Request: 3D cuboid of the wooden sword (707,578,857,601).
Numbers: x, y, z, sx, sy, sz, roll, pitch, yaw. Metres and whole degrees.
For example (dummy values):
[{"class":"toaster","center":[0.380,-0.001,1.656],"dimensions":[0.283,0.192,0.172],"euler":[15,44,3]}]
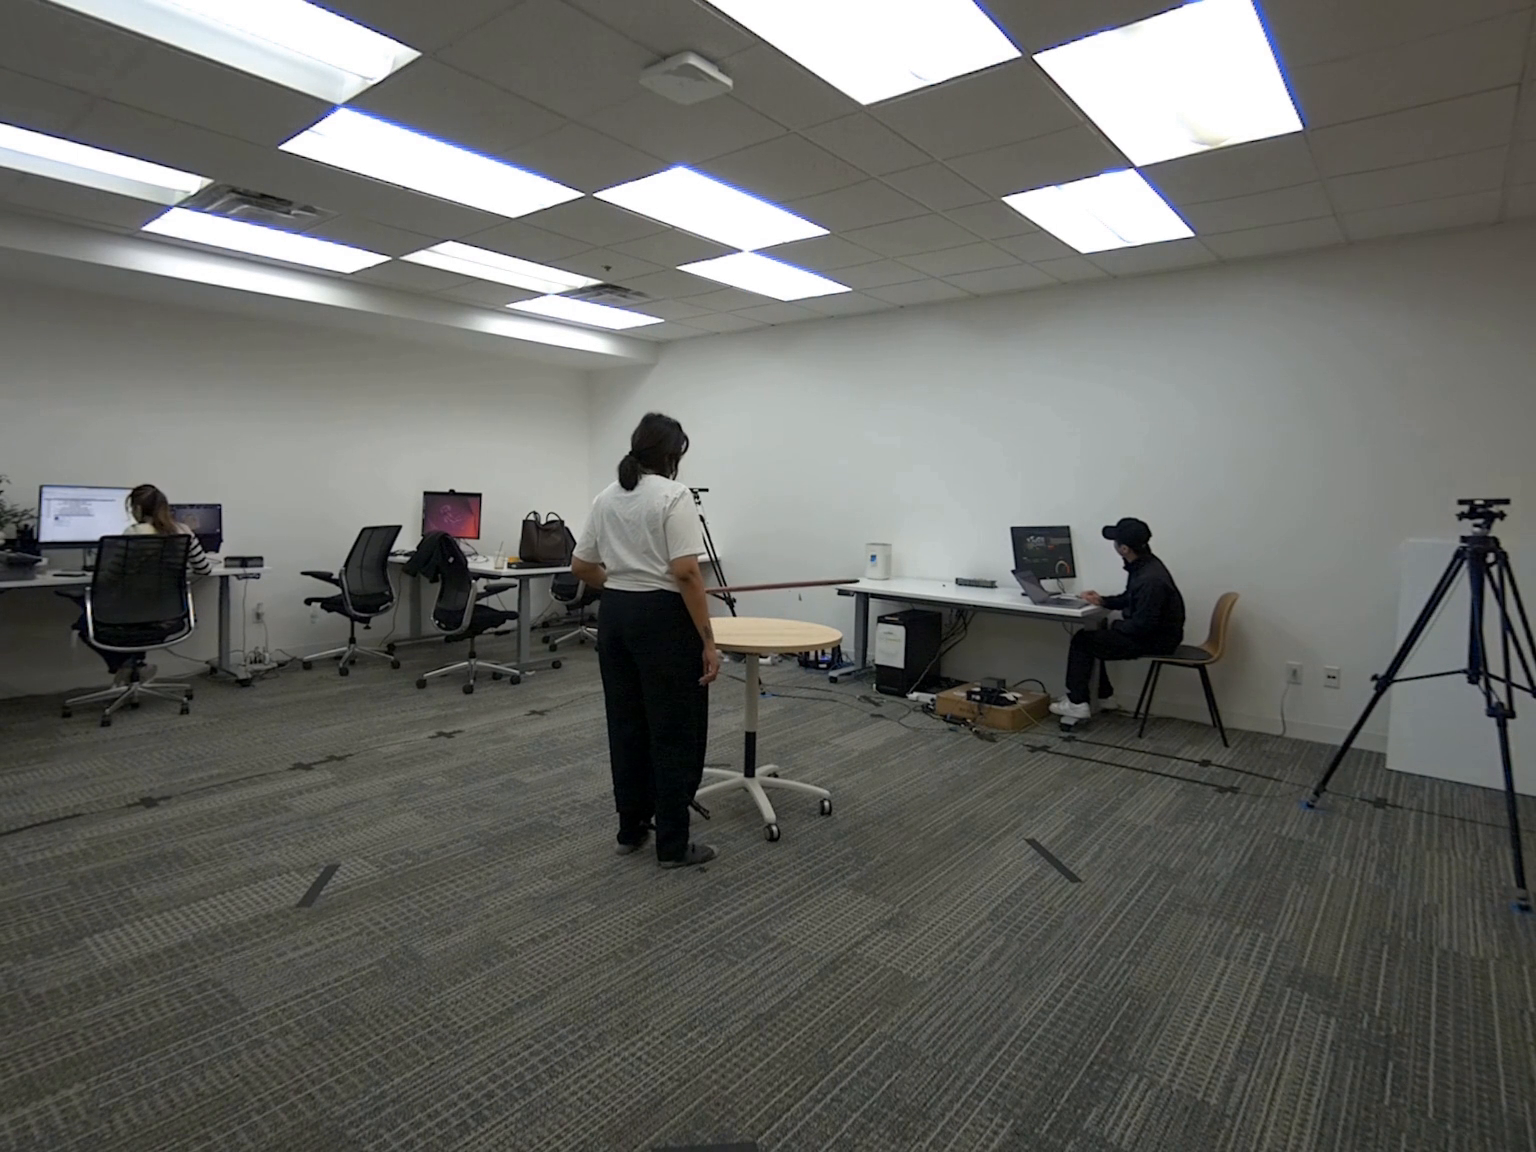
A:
[{"class":"wooden sword","center":[-0.146,0.049,3.655],"dimensions":[1.013,0.023,0.053],"euler":[-3,28,-11]}]
